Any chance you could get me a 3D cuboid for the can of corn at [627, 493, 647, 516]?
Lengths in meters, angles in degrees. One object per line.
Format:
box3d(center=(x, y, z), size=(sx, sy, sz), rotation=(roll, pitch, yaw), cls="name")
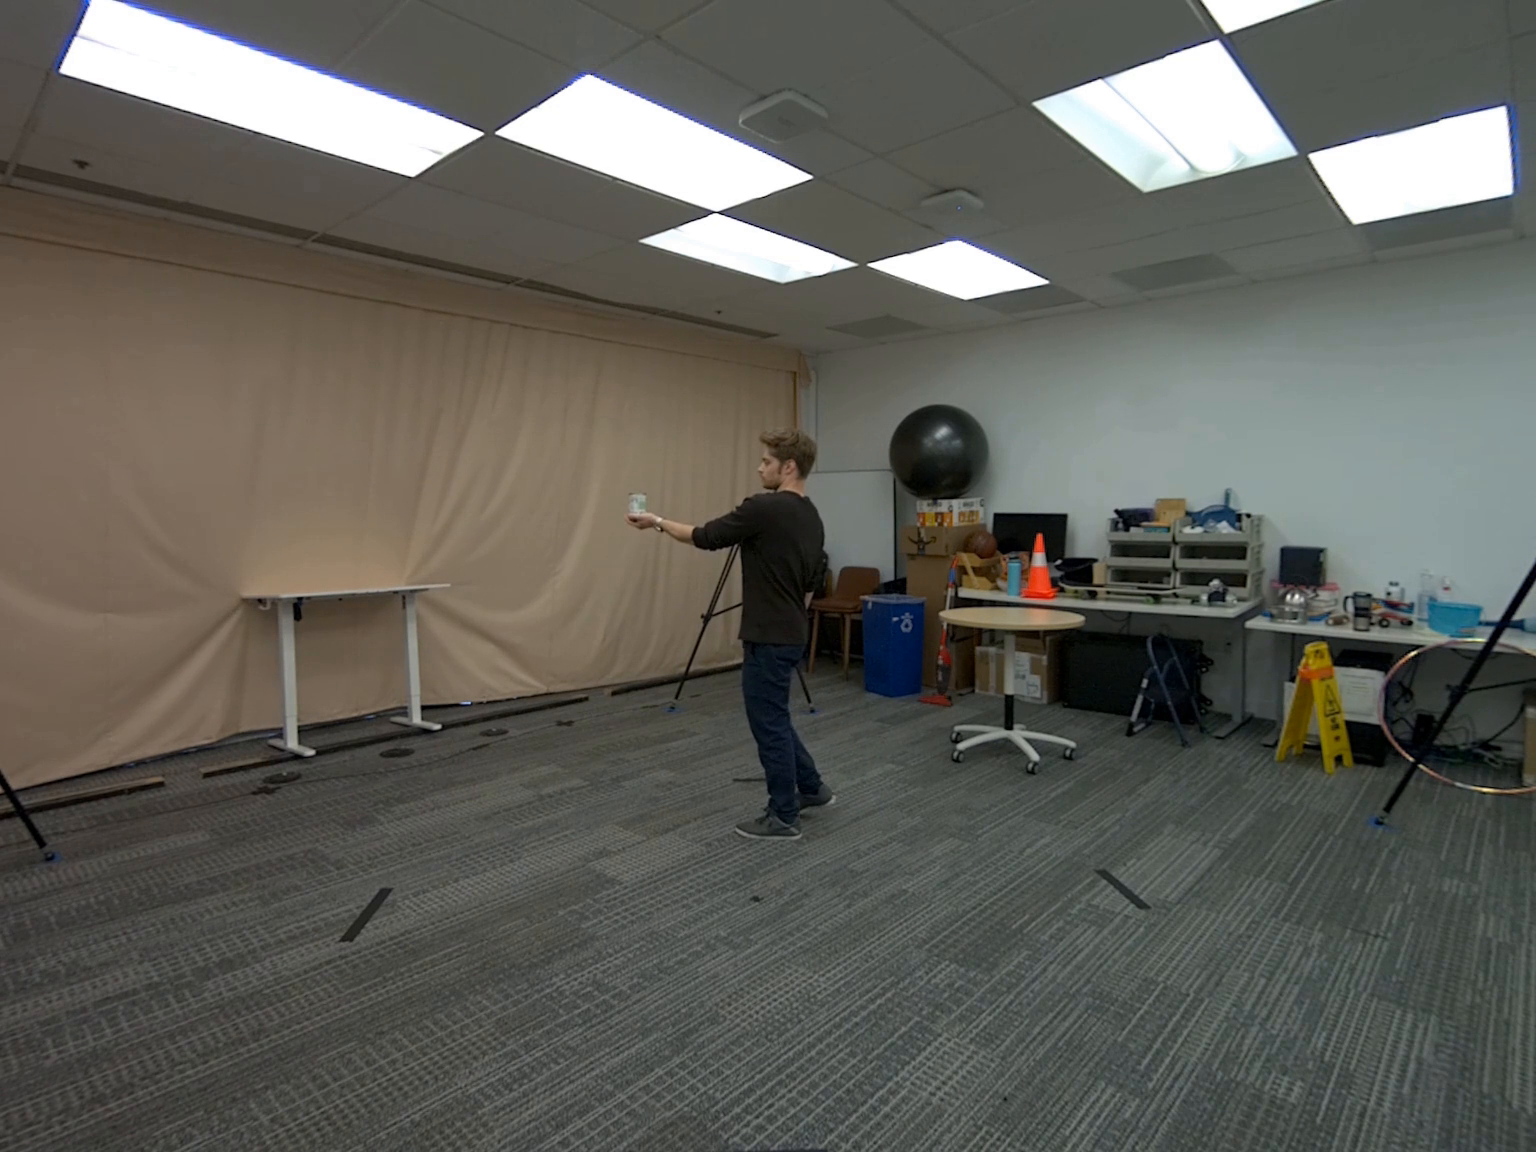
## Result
box3d(center=(-0.557, -0.299, 3.650), size=(0.074, 0.111, 0.074), rotation=(2, -1, -2), cls="can of corn")
